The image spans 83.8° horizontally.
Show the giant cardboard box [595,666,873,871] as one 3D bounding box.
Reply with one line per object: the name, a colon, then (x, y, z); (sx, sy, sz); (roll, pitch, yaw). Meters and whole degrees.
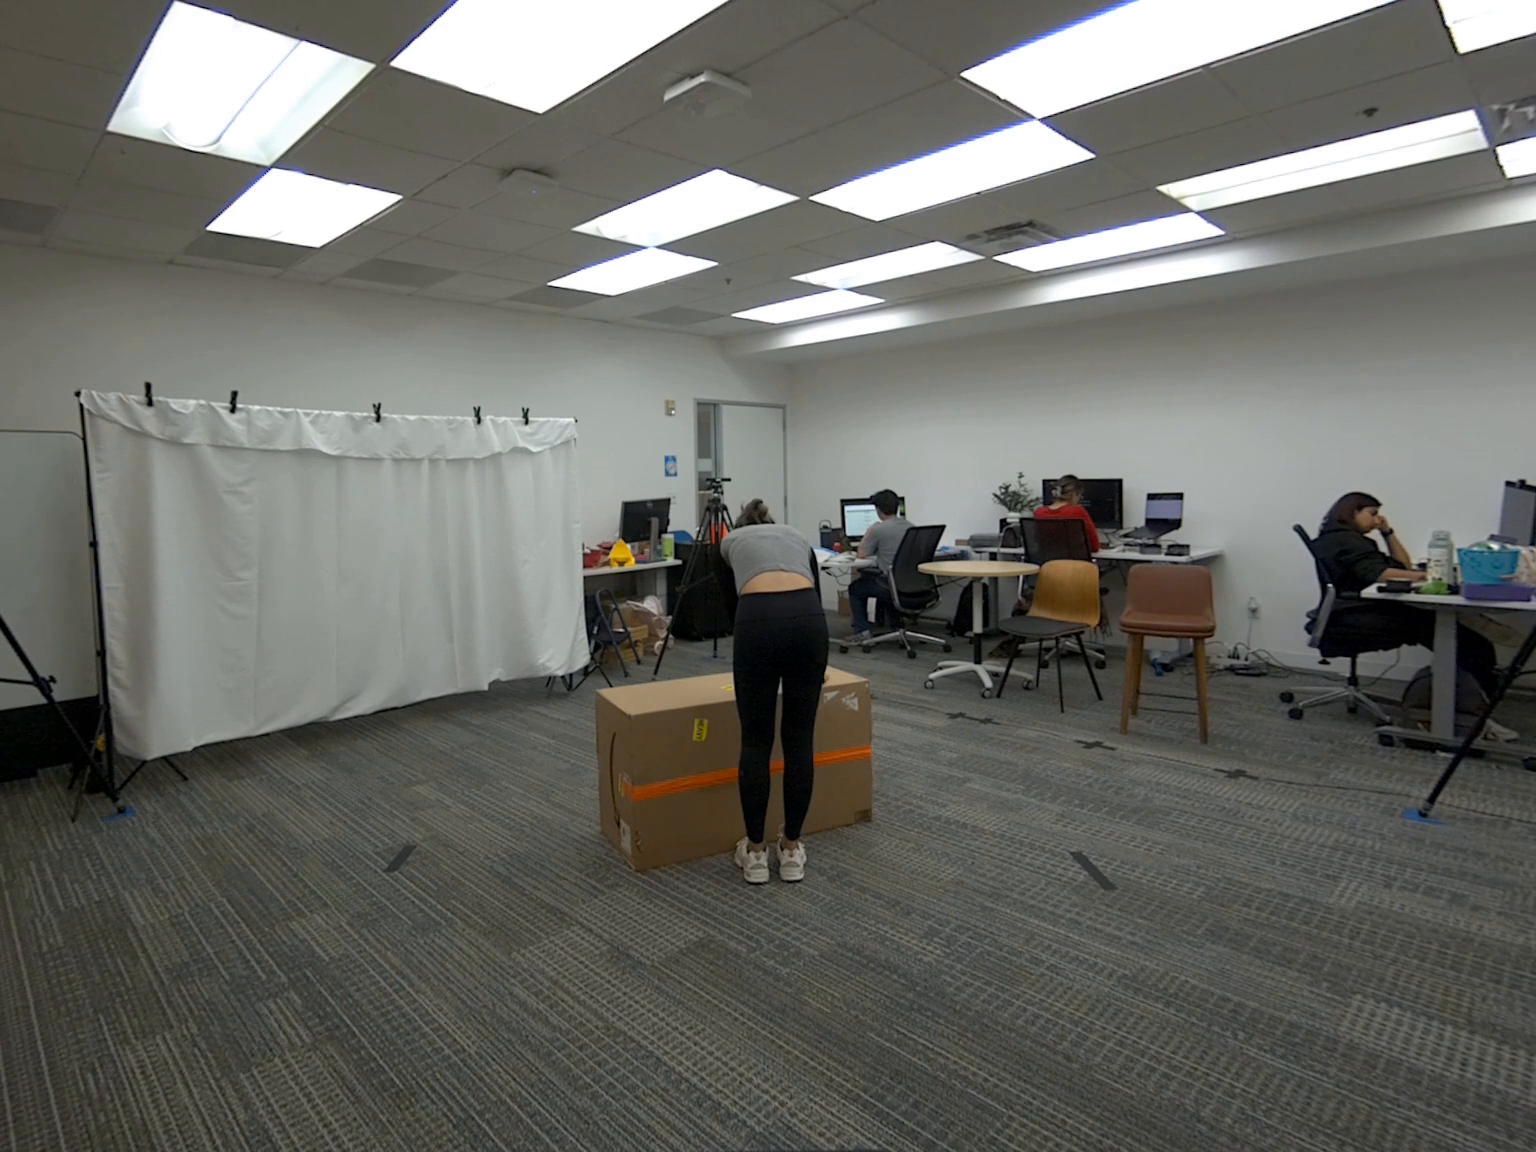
giant cardboard box: (-0.131, 0.718, 3.430); (1.005, 0.575, 0.437); (-4, 5, -25)
